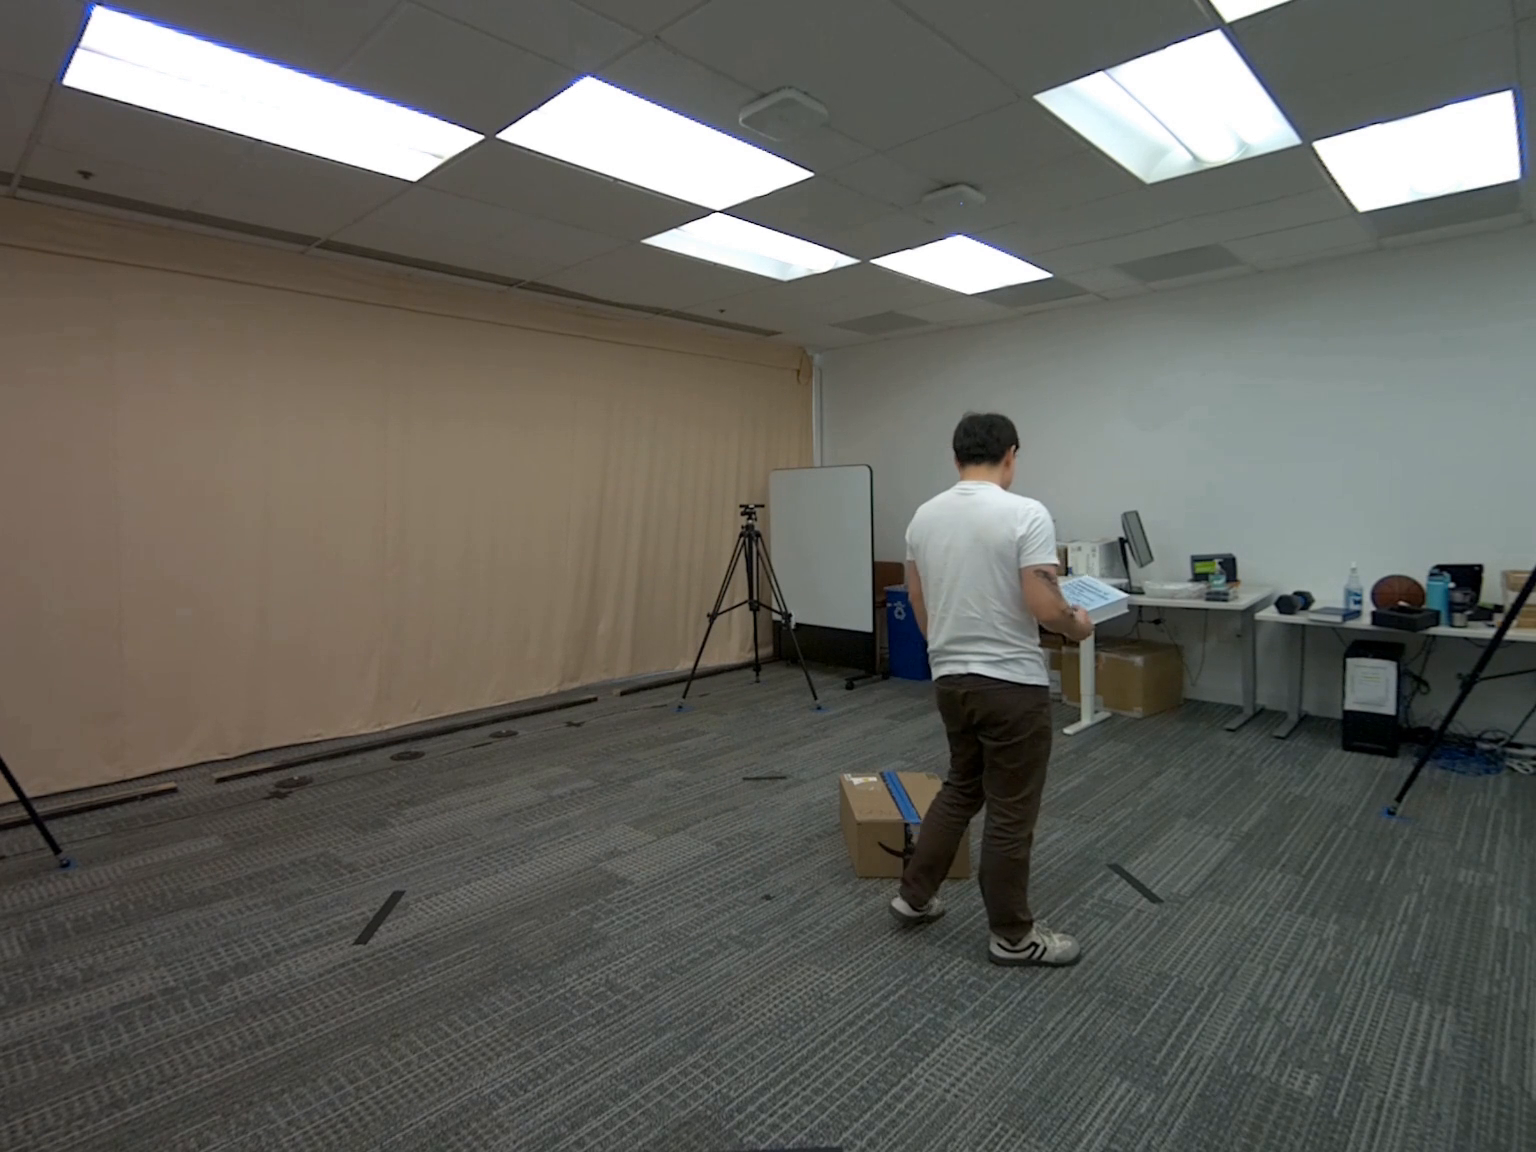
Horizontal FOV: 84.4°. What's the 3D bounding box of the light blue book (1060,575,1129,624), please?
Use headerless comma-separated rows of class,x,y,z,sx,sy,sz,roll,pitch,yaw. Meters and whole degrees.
light blue book,0.976,0.088,2.669,0.257,0.058,0.198,-18,27,-20
